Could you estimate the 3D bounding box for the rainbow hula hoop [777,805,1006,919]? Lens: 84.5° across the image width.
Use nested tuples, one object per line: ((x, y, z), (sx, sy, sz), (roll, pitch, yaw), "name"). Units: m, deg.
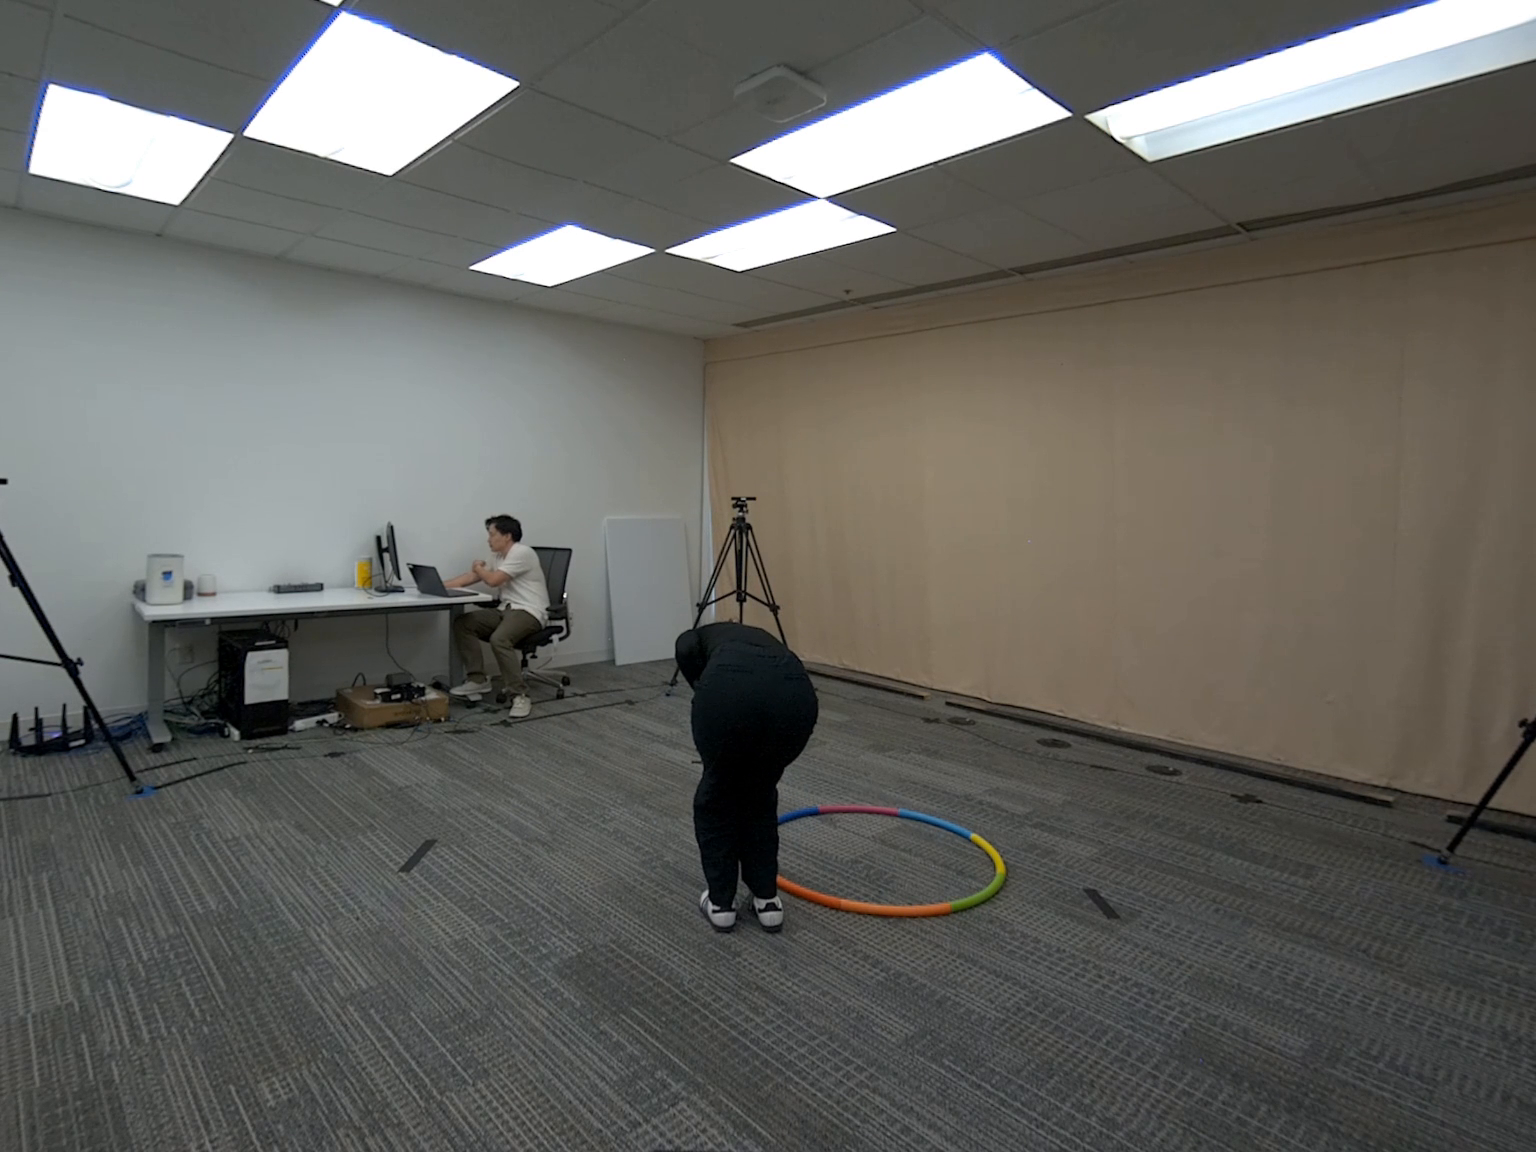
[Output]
((0.405, 1.072, 3.306), (0.978, 0.035, 0.982), (2, 5, -1), "rainbow hula hoop")
